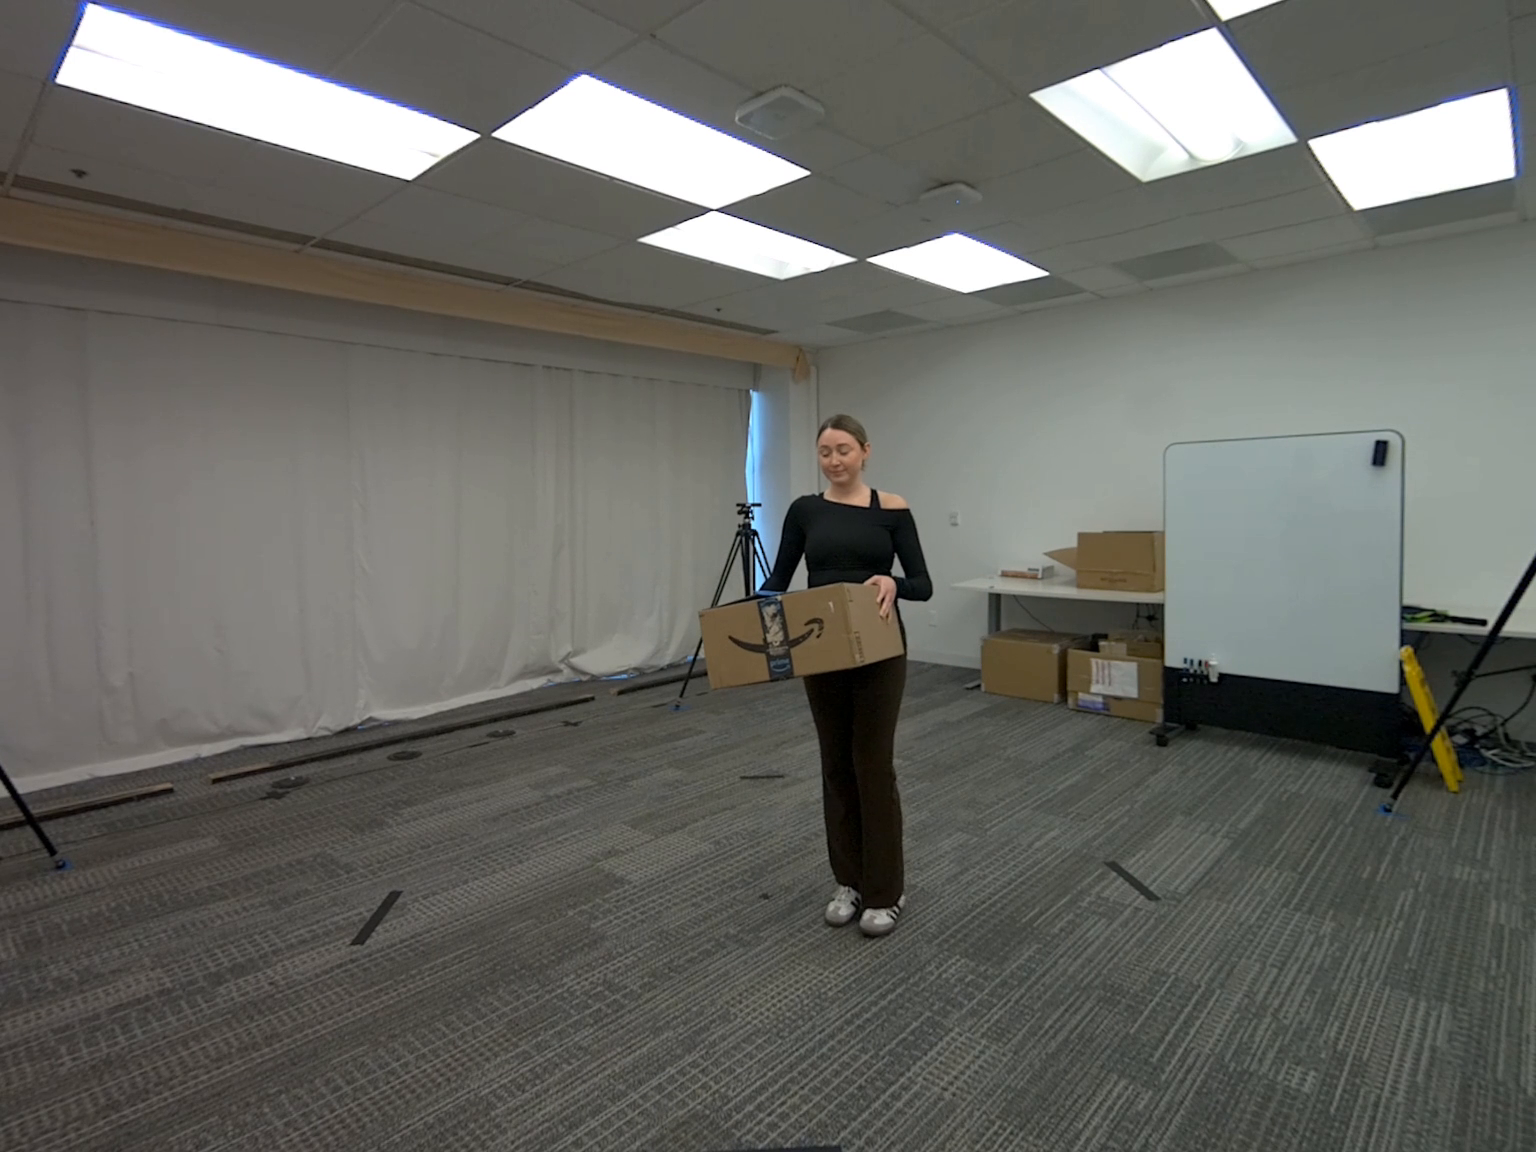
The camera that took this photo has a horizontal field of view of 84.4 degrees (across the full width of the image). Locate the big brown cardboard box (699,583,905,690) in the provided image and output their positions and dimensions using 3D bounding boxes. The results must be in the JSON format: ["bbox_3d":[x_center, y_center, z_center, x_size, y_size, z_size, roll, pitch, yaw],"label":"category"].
[{"bbox_3d":[0.111,0.167,2.429,0.426,0.234,0.574,-11,-7,22],"label":"big brown cardboard box"}]
